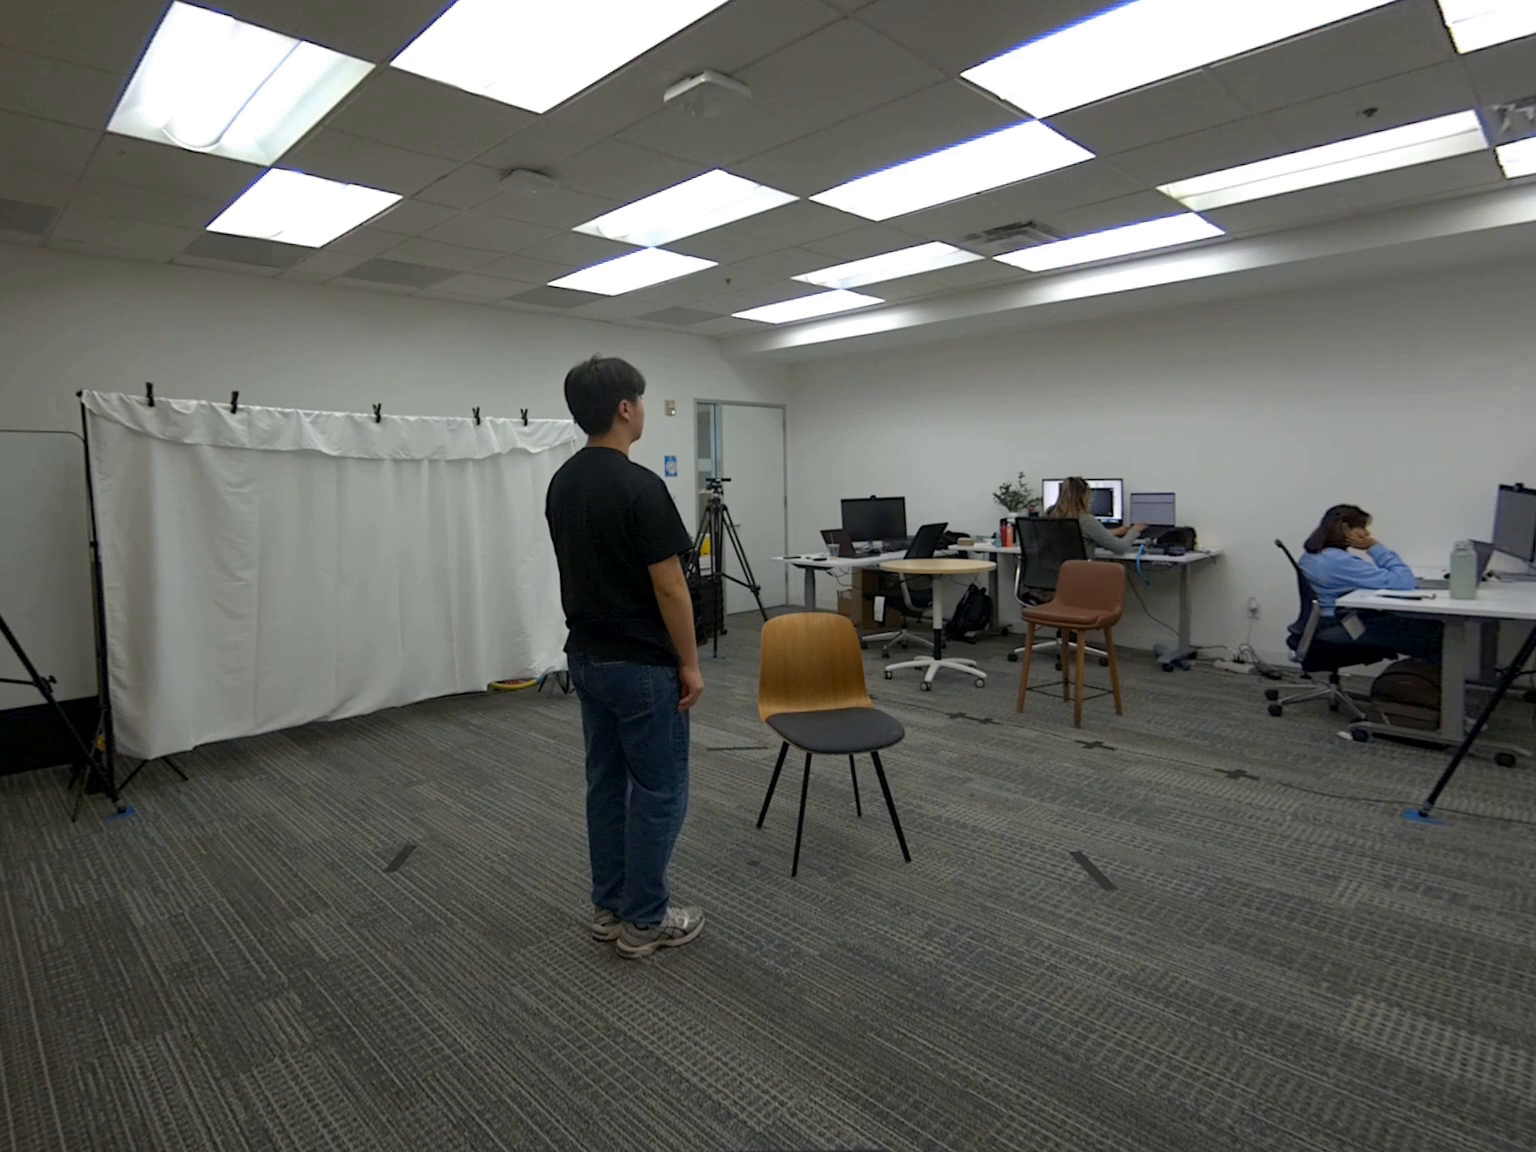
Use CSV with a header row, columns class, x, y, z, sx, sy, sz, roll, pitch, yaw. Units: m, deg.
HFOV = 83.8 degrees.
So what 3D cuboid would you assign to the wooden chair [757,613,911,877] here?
class,x,y,z,sx,sy,sz,roll,pitch,yaw
wooden chair,0.232,0.599,3.220,0.471,0.877,0.531,-2,0,-16
